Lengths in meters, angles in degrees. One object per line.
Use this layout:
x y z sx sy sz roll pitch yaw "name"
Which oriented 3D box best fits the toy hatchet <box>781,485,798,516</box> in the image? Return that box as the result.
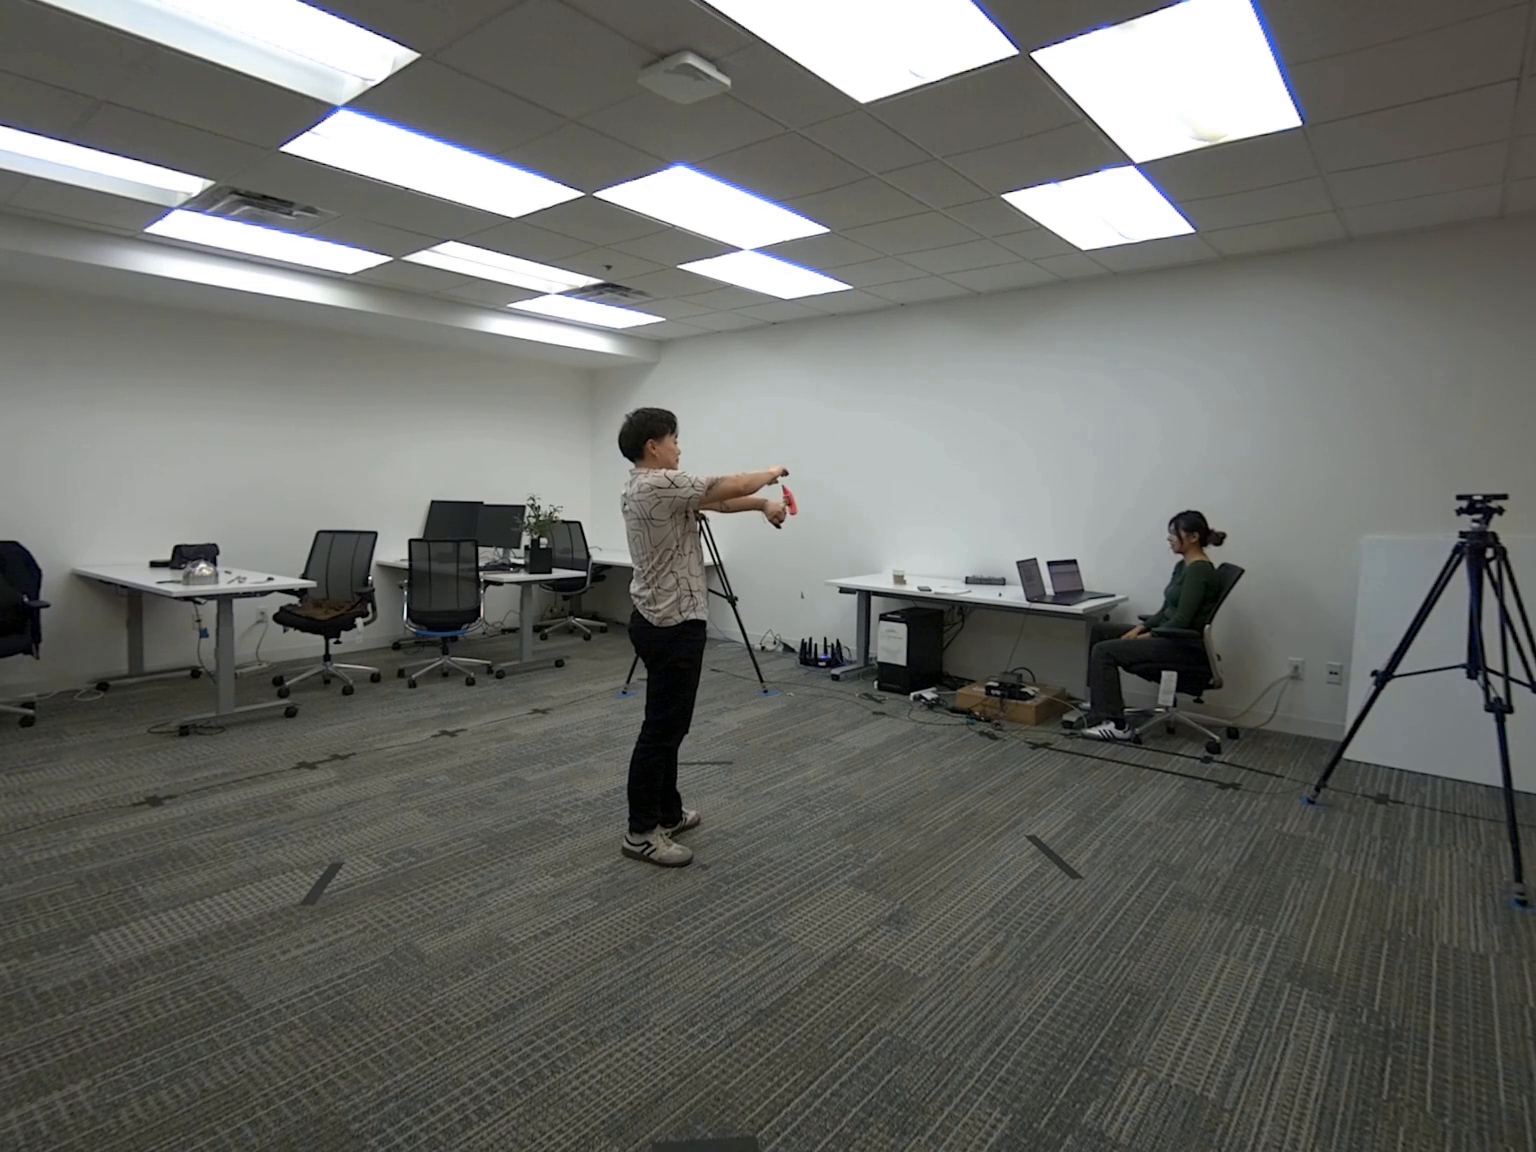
0.062 -0.253 3.426 0.030 0.126 0.276 -20 33 22 "toy hatchet"
